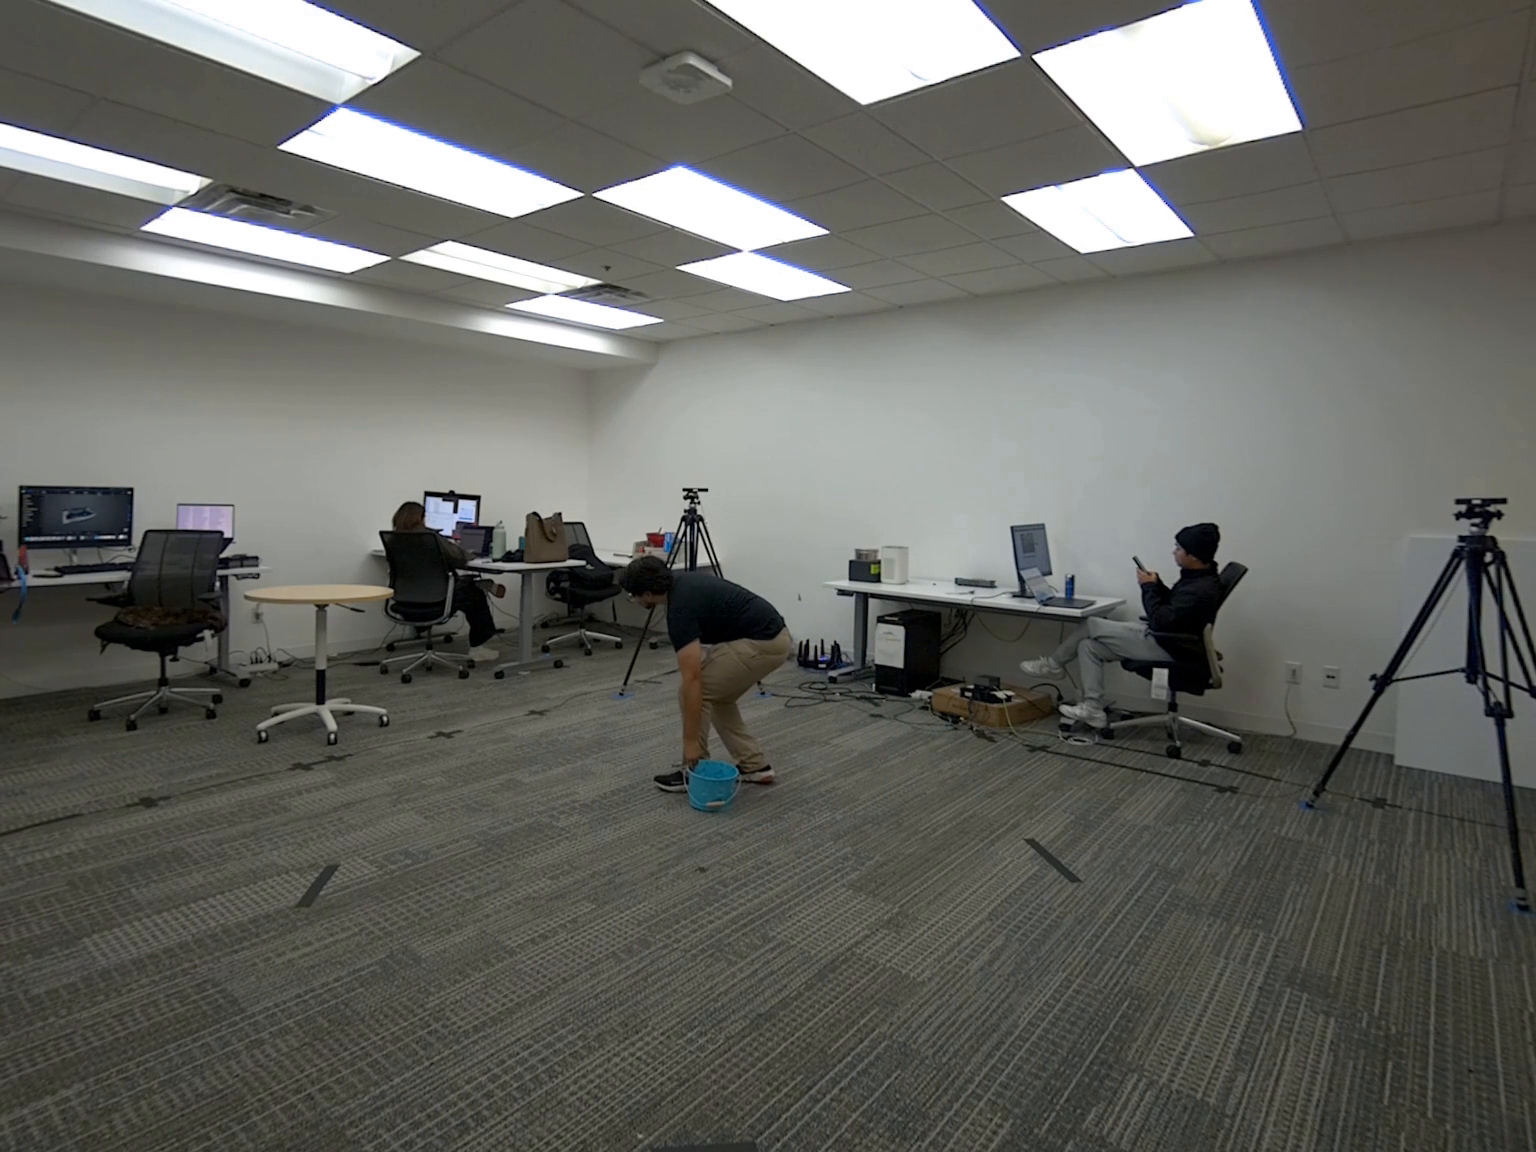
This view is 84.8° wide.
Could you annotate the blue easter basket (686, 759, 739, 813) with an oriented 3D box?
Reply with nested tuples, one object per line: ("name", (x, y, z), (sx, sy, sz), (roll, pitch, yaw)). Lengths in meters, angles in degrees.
("blue easter basket", (-0.263, 0.926, 3.756), (0.243, 0.155, 0.245), (5, 6, -2))
